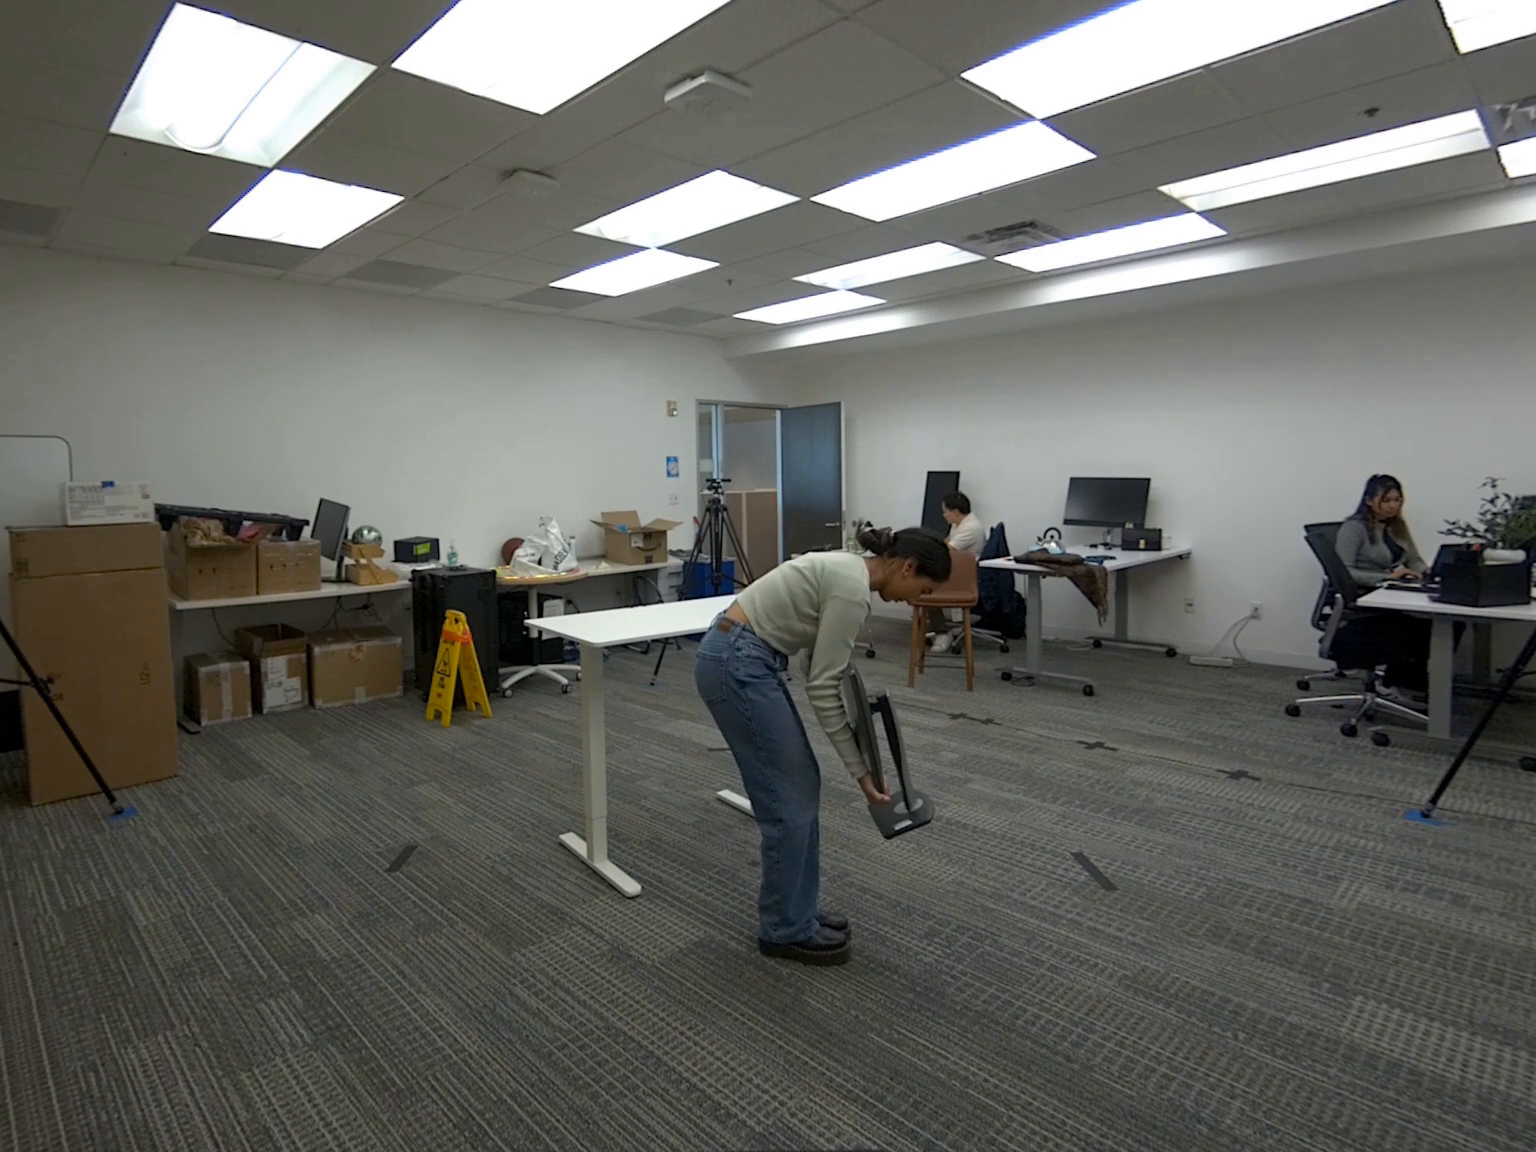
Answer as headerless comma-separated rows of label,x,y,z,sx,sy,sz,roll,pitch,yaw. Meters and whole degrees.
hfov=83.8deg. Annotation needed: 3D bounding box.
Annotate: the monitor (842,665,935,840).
monitor,0.320,0.474,2.542,0.187,0.522,0.540,-21,2,-1
